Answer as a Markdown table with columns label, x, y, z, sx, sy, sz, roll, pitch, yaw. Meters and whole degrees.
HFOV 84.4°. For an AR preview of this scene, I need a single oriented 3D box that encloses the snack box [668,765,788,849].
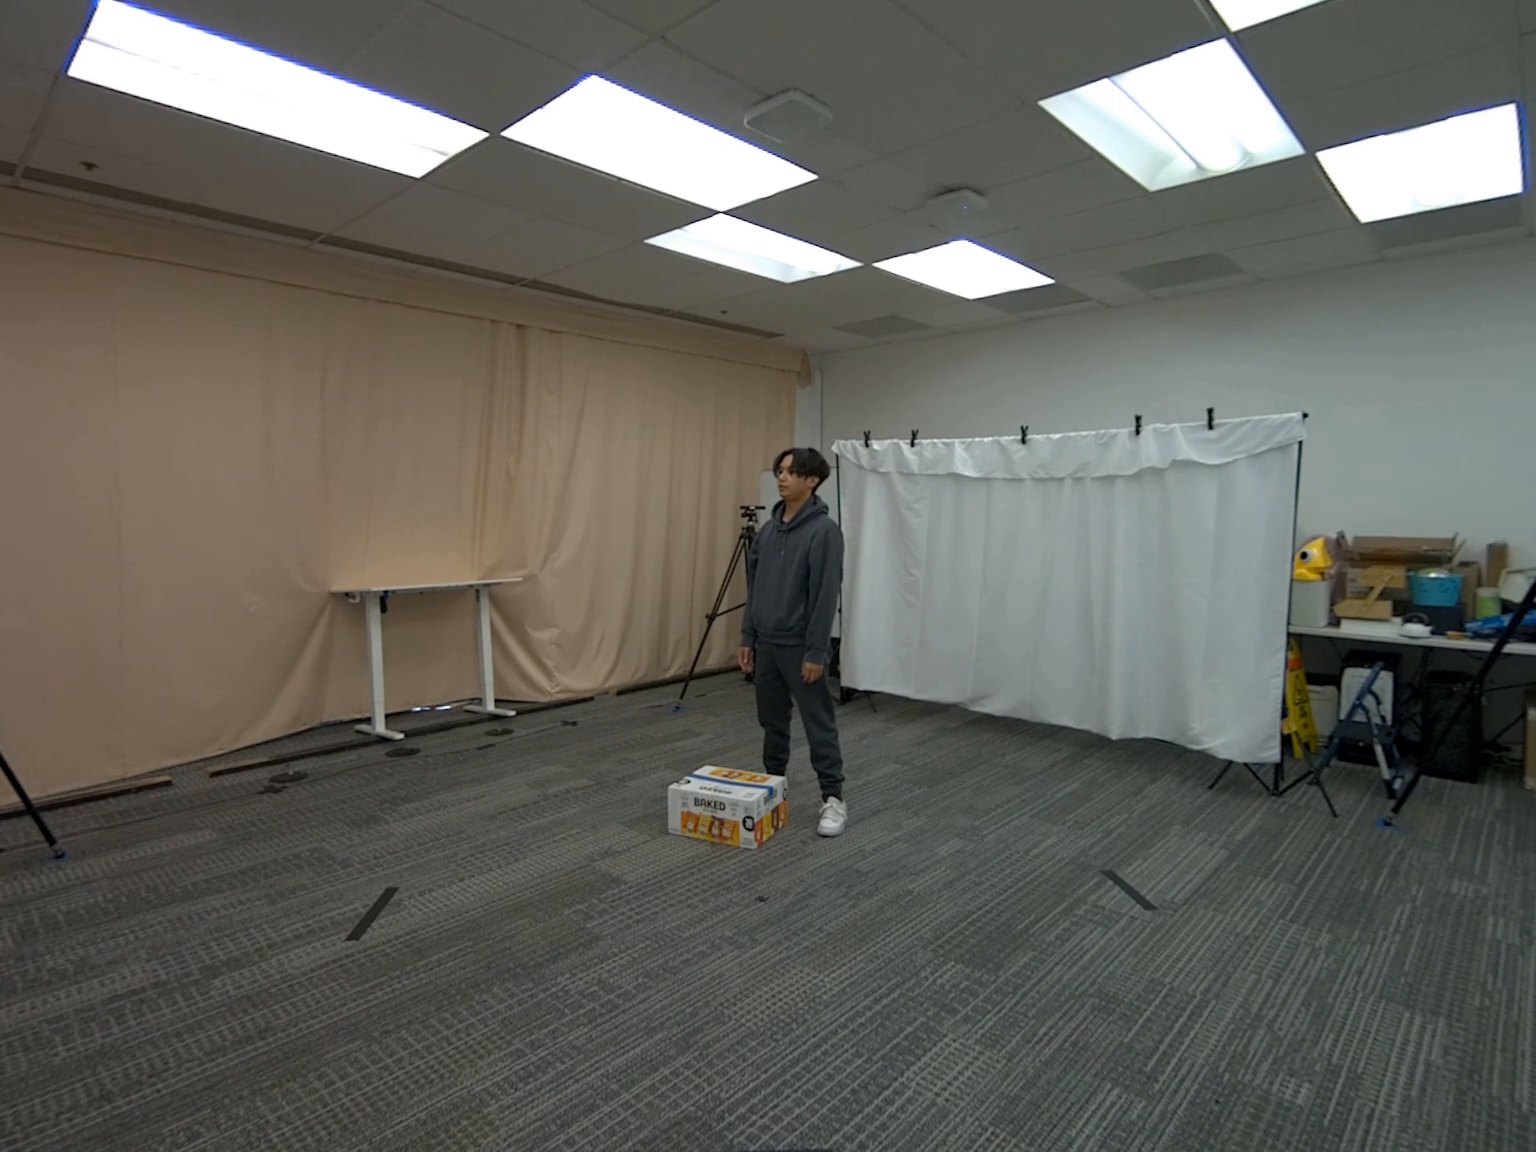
| label | x | y | z | sx | sy | sz | roll | pitch | yaw |
| --- | --- | --- | --- | --- | --- | --- | --- | --- | --- |
| snack box | -0.169 | 0.988 | 3.637 | 0.416 | 0.205 | 0.332 | 2 | 4 | 26 |
